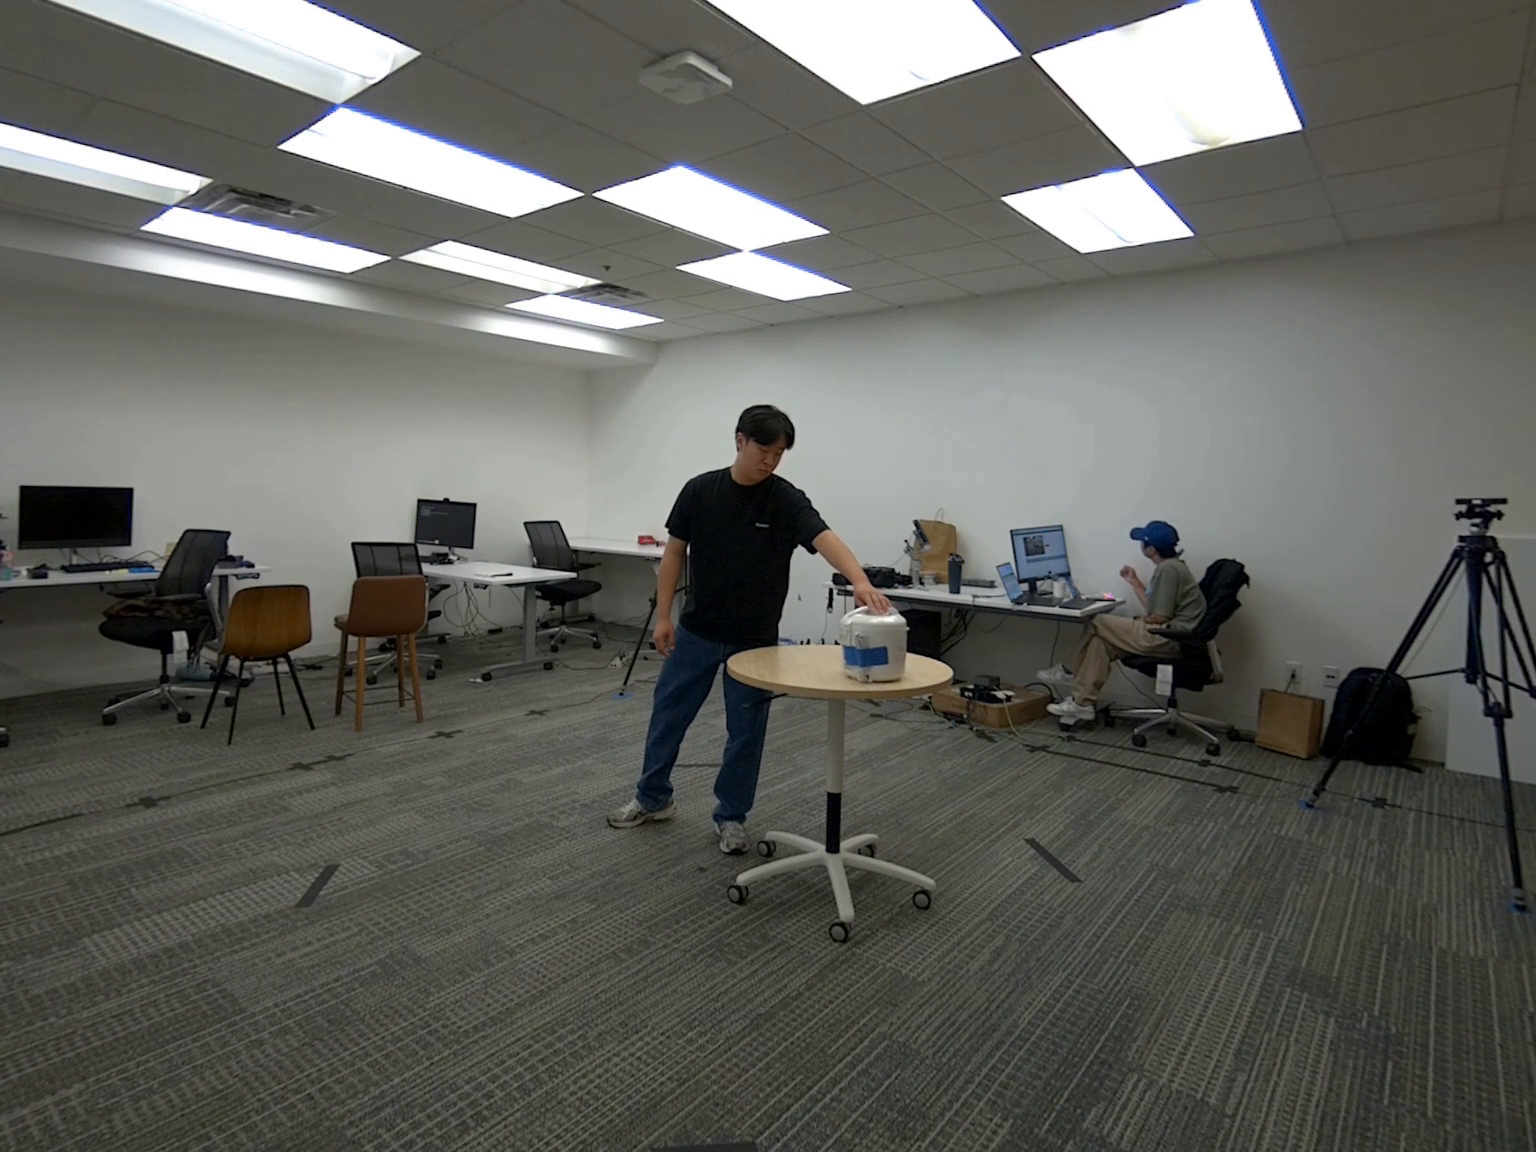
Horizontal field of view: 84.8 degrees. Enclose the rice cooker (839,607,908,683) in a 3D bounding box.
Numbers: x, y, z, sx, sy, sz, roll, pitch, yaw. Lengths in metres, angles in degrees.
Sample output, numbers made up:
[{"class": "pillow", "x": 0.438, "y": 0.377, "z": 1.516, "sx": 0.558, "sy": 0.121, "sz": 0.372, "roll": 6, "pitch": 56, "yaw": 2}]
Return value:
[{"class": "rice cooker", "x": 0.333, "y": 0.206, "z": 2.739, "sx": 0.216, "sy": 0.232, "sz": 0.222, "roll": 1, "pitch": 4, "yaw": -18}]
